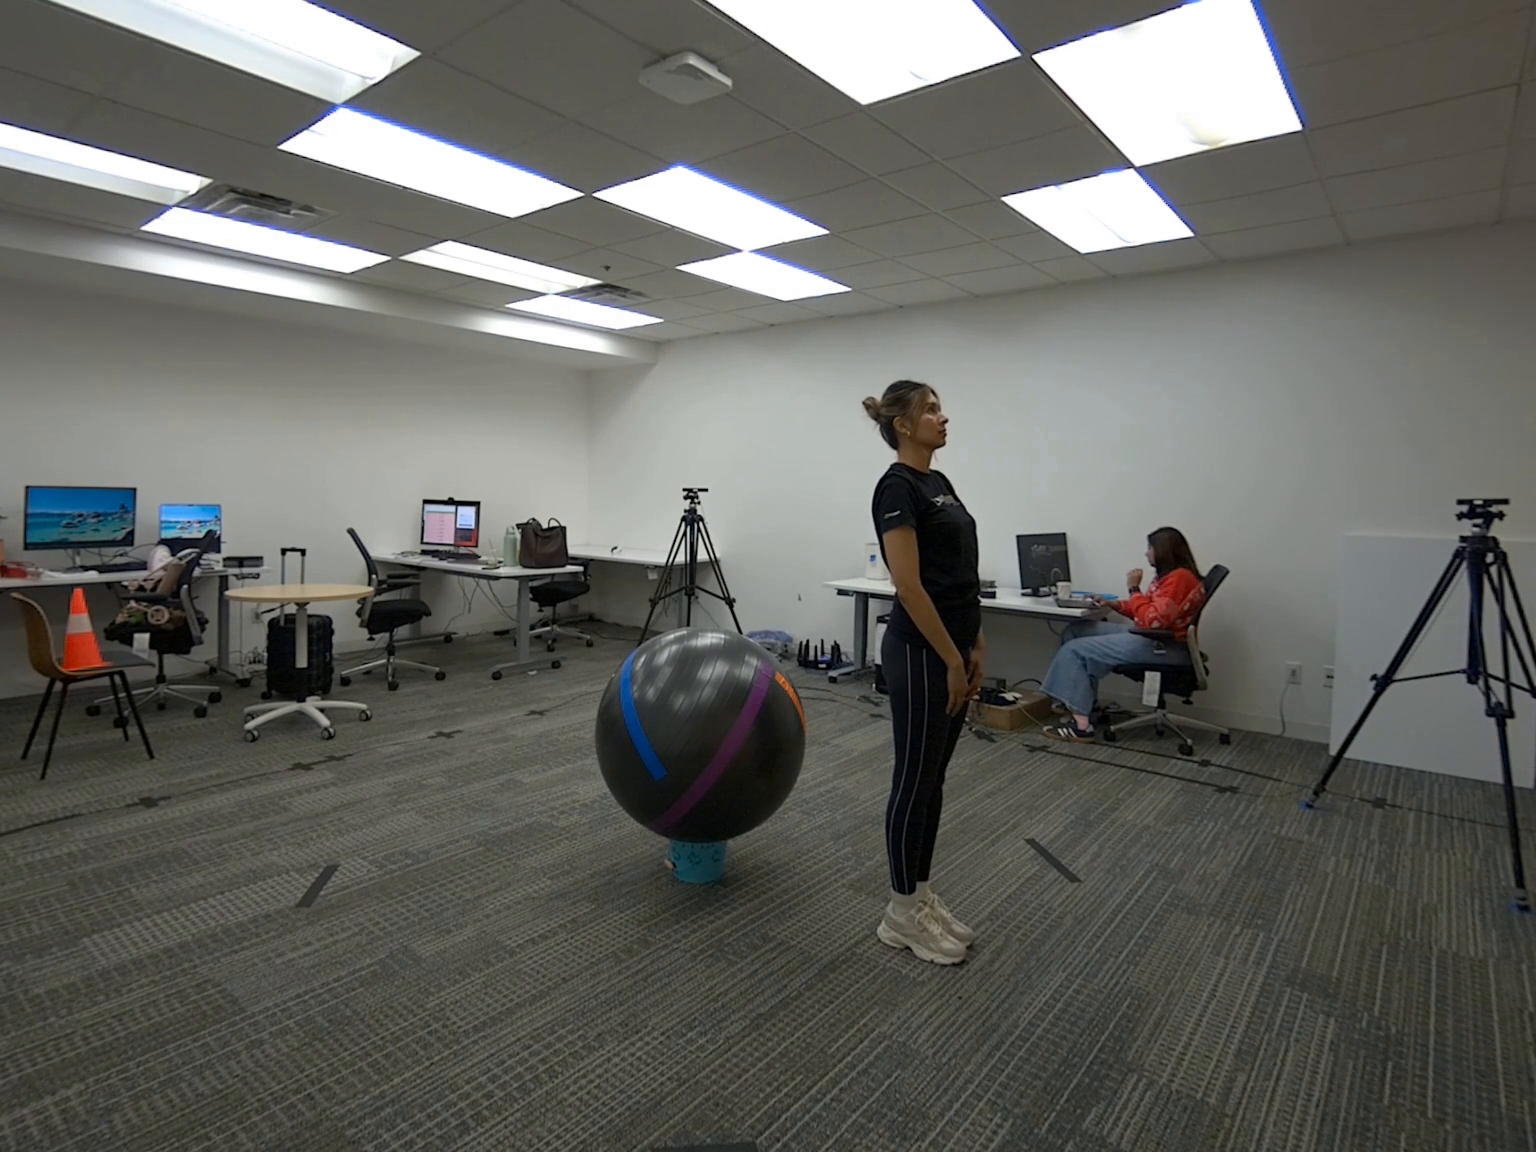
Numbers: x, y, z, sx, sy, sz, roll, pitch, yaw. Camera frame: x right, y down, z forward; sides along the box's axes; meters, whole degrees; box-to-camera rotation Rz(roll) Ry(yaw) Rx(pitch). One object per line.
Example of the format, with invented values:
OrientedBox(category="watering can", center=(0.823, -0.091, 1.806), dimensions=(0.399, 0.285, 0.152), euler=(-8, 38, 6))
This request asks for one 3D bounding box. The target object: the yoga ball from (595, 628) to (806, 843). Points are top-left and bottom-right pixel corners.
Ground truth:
OrientedBox(category="yoga ball", center=(-0.256, 0.562, 3.070), dimensions=(0.757, 0.756, 0.762), euler=(1, 4, -2))
